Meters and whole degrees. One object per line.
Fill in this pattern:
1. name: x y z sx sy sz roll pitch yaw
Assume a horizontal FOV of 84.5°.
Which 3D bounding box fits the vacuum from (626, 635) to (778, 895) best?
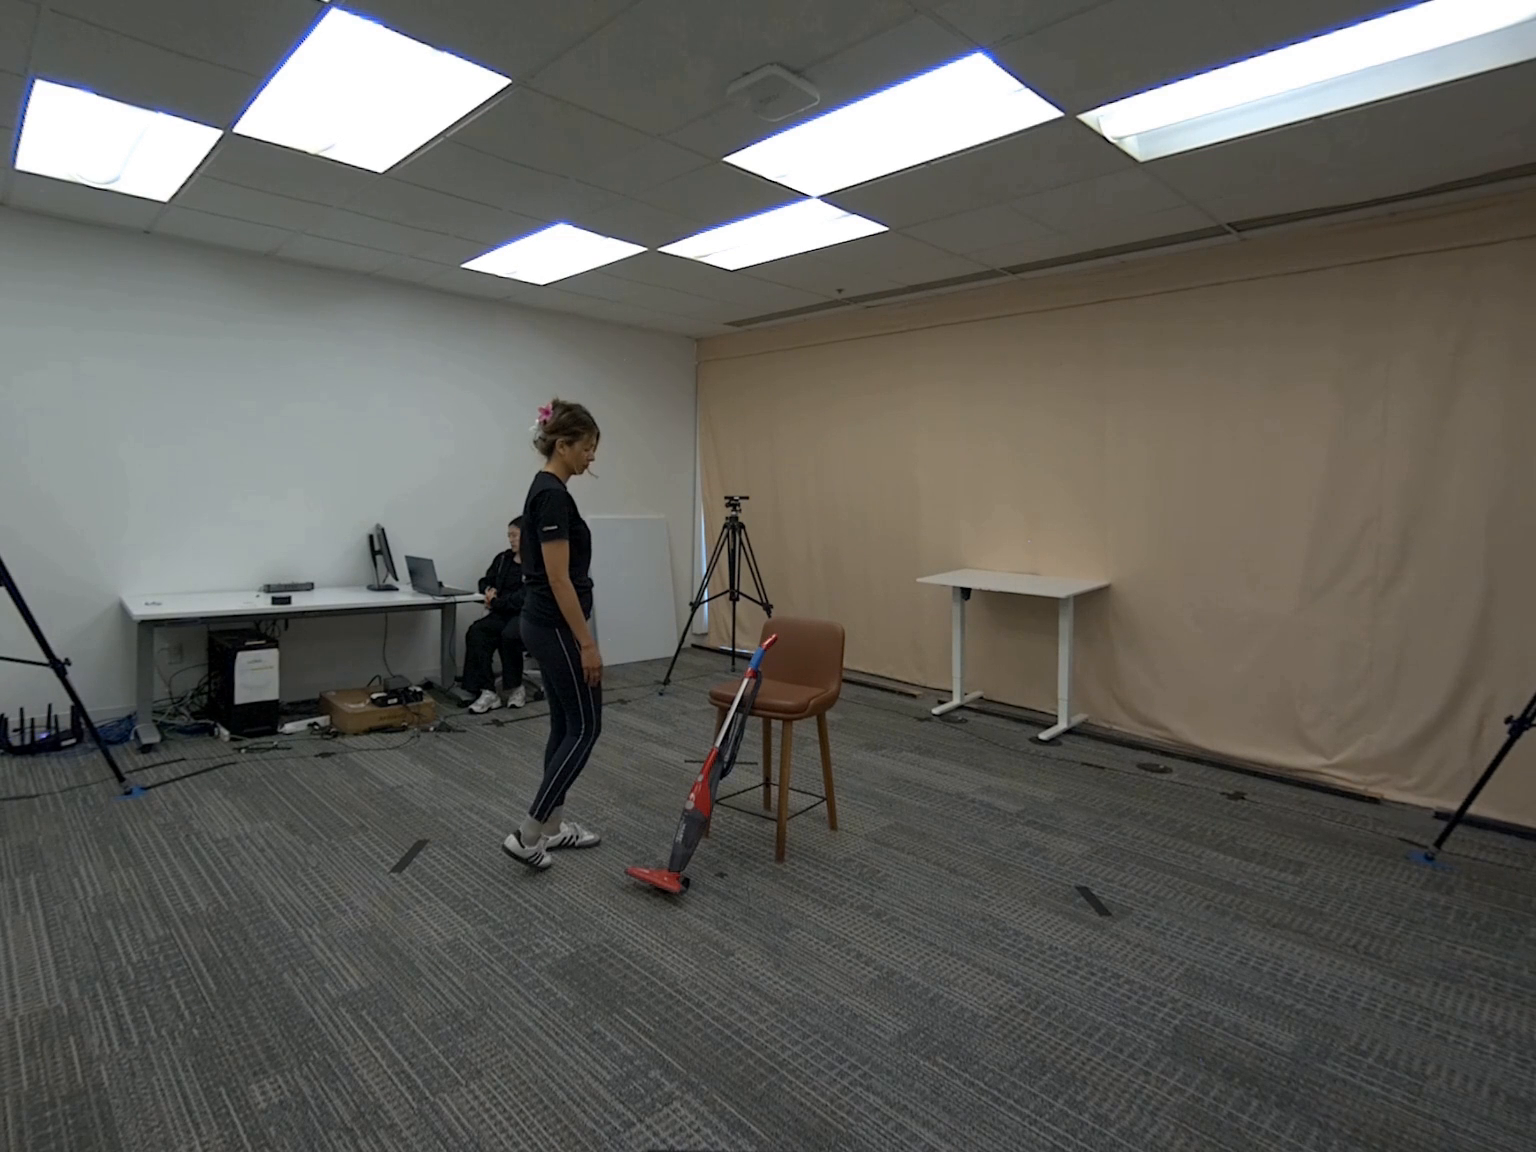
1. vacuum: -0.187 0.666 3.192 0.259 1.057 0.139 3 -35 37
